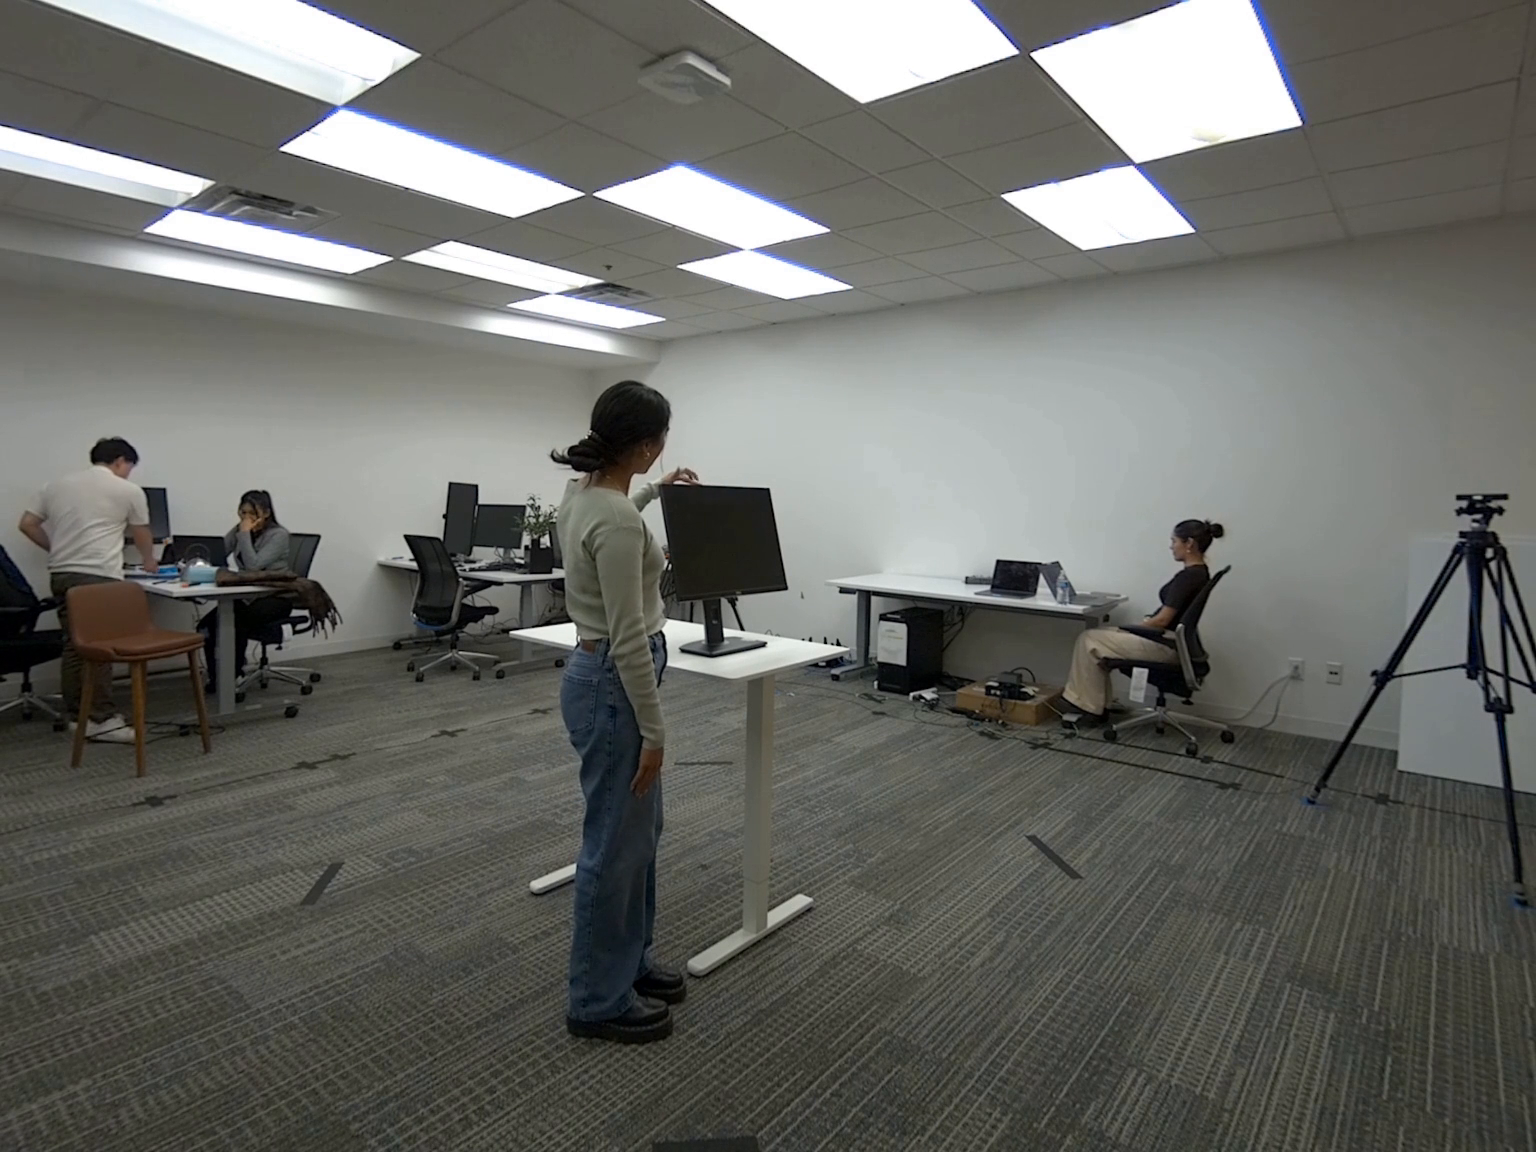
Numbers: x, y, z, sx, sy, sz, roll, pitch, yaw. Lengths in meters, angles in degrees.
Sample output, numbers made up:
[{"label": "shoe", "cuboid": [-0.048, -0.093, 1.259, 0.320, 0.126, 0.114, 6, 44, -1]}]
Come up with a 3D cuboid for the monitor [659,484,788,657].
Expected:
[{"label": "monitor", "cuboid": [-0.160, -0.024, 2.688, 0.193, 0.522, 0.523, 0, 2, 36]}]
